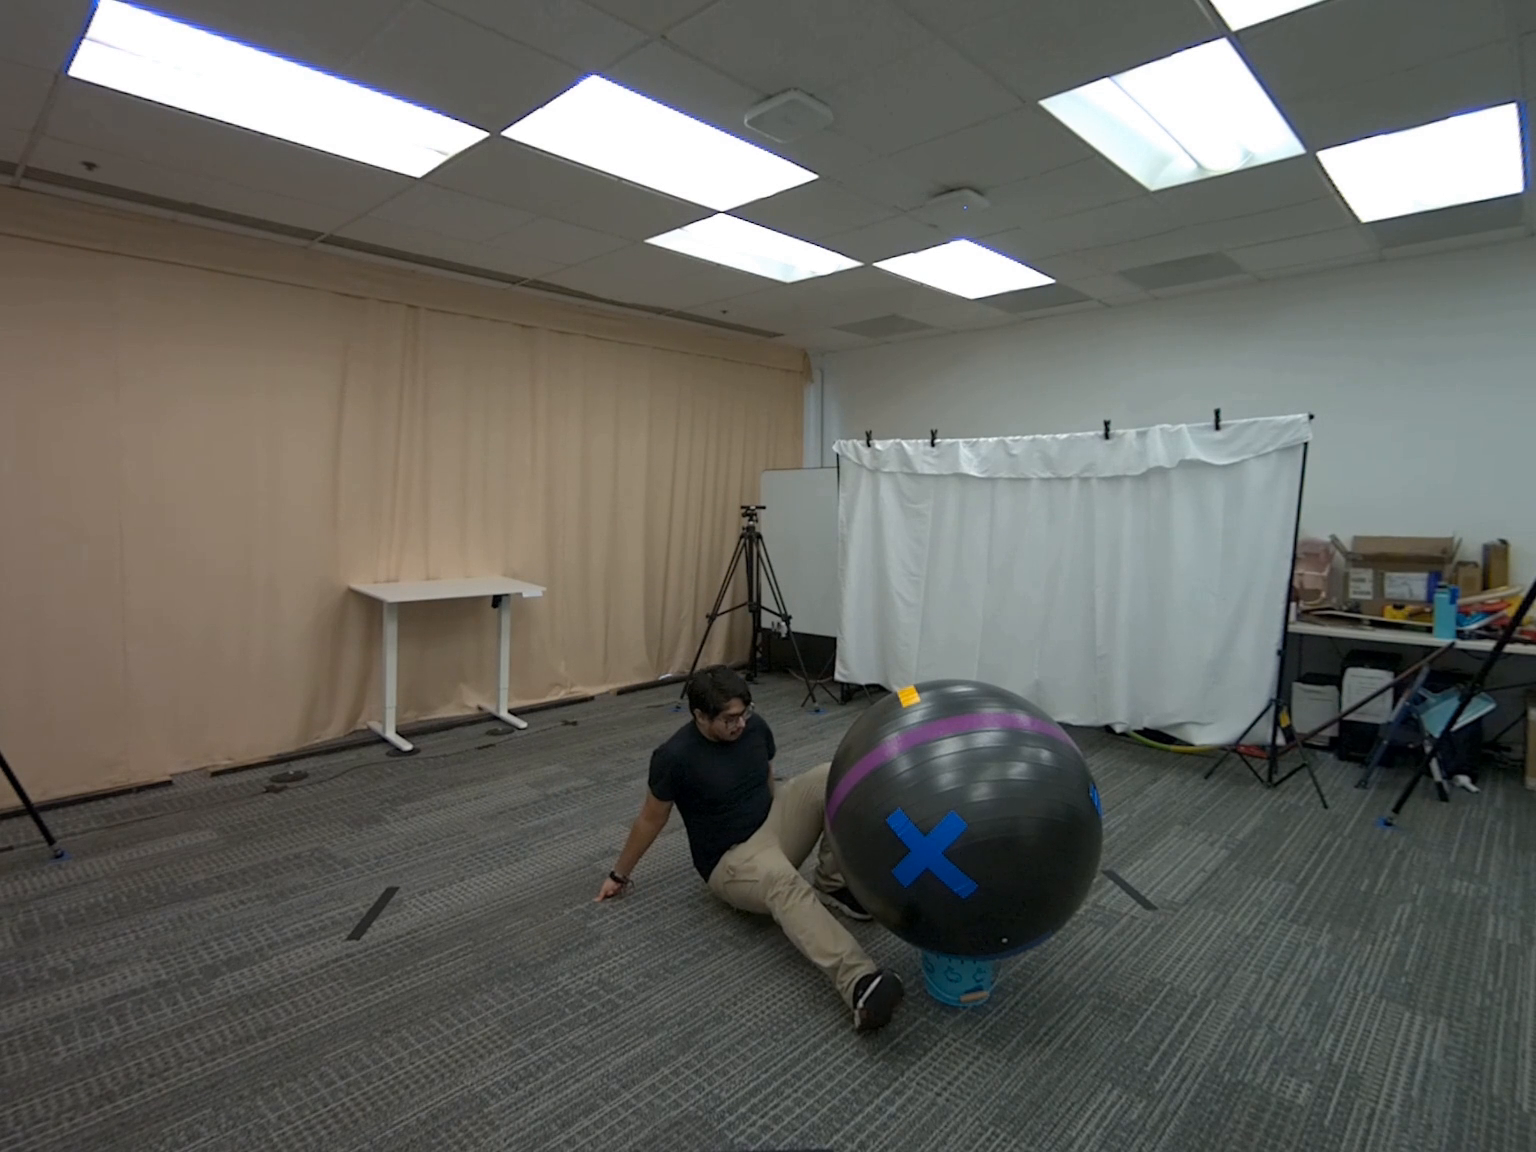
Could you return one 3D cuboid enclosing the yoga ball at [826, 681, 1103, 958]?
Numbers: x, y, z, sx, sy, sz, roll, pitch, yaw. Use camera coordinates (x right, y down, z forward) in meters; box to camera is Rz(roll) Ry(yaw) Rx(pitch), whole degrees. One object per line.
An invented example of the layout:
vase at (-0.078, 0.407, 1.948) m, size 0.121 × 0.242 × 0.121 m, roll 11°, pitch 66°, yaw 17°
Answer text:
yoga ball at (0.554, 0.684, 2.405) m, size 0.757 × 0.756 × 0.760 m, roll 0°, pitch 4°, yaw -2°
